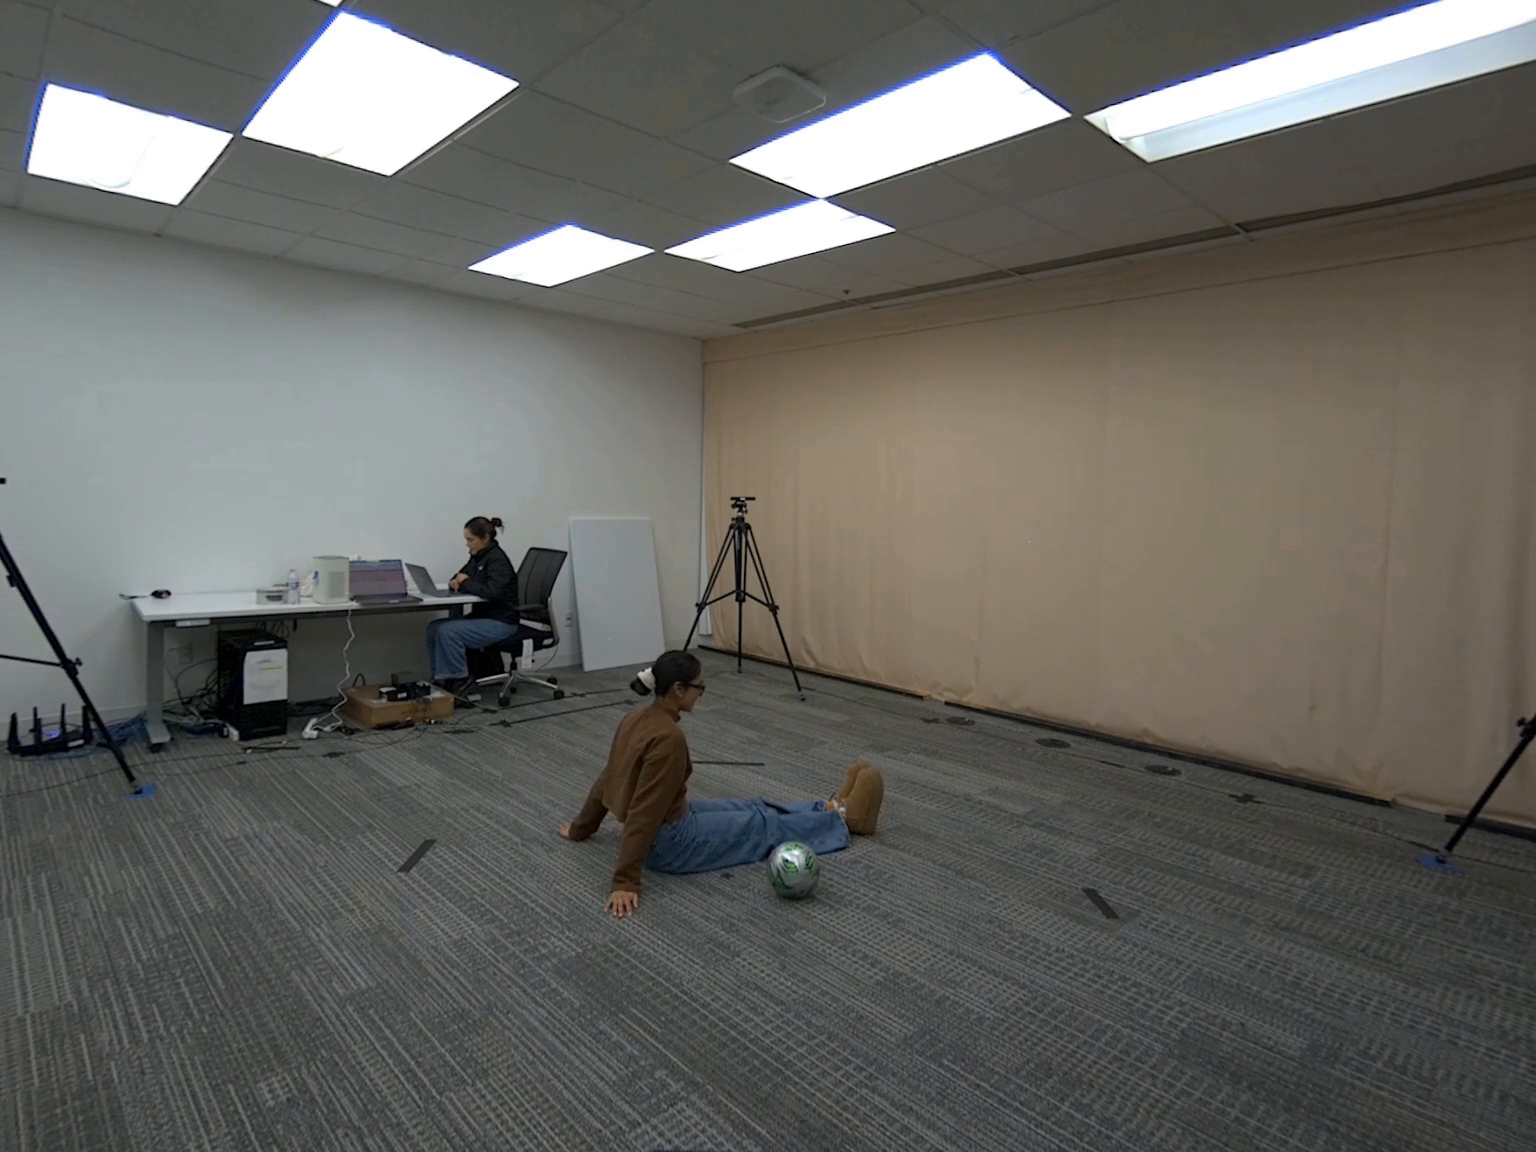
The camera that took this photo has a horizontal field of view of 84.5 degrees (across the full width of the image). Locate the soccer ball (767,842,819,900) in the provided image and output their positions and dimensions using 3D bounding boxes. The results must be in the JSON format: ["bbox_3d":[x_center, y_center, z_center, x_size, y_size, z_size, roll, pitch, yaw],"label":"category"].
[{"bbox_3d":[0.082,1.031,2.956,0.187,0.187,0.188,1,4,-1],"label":"soccer ball"}]
